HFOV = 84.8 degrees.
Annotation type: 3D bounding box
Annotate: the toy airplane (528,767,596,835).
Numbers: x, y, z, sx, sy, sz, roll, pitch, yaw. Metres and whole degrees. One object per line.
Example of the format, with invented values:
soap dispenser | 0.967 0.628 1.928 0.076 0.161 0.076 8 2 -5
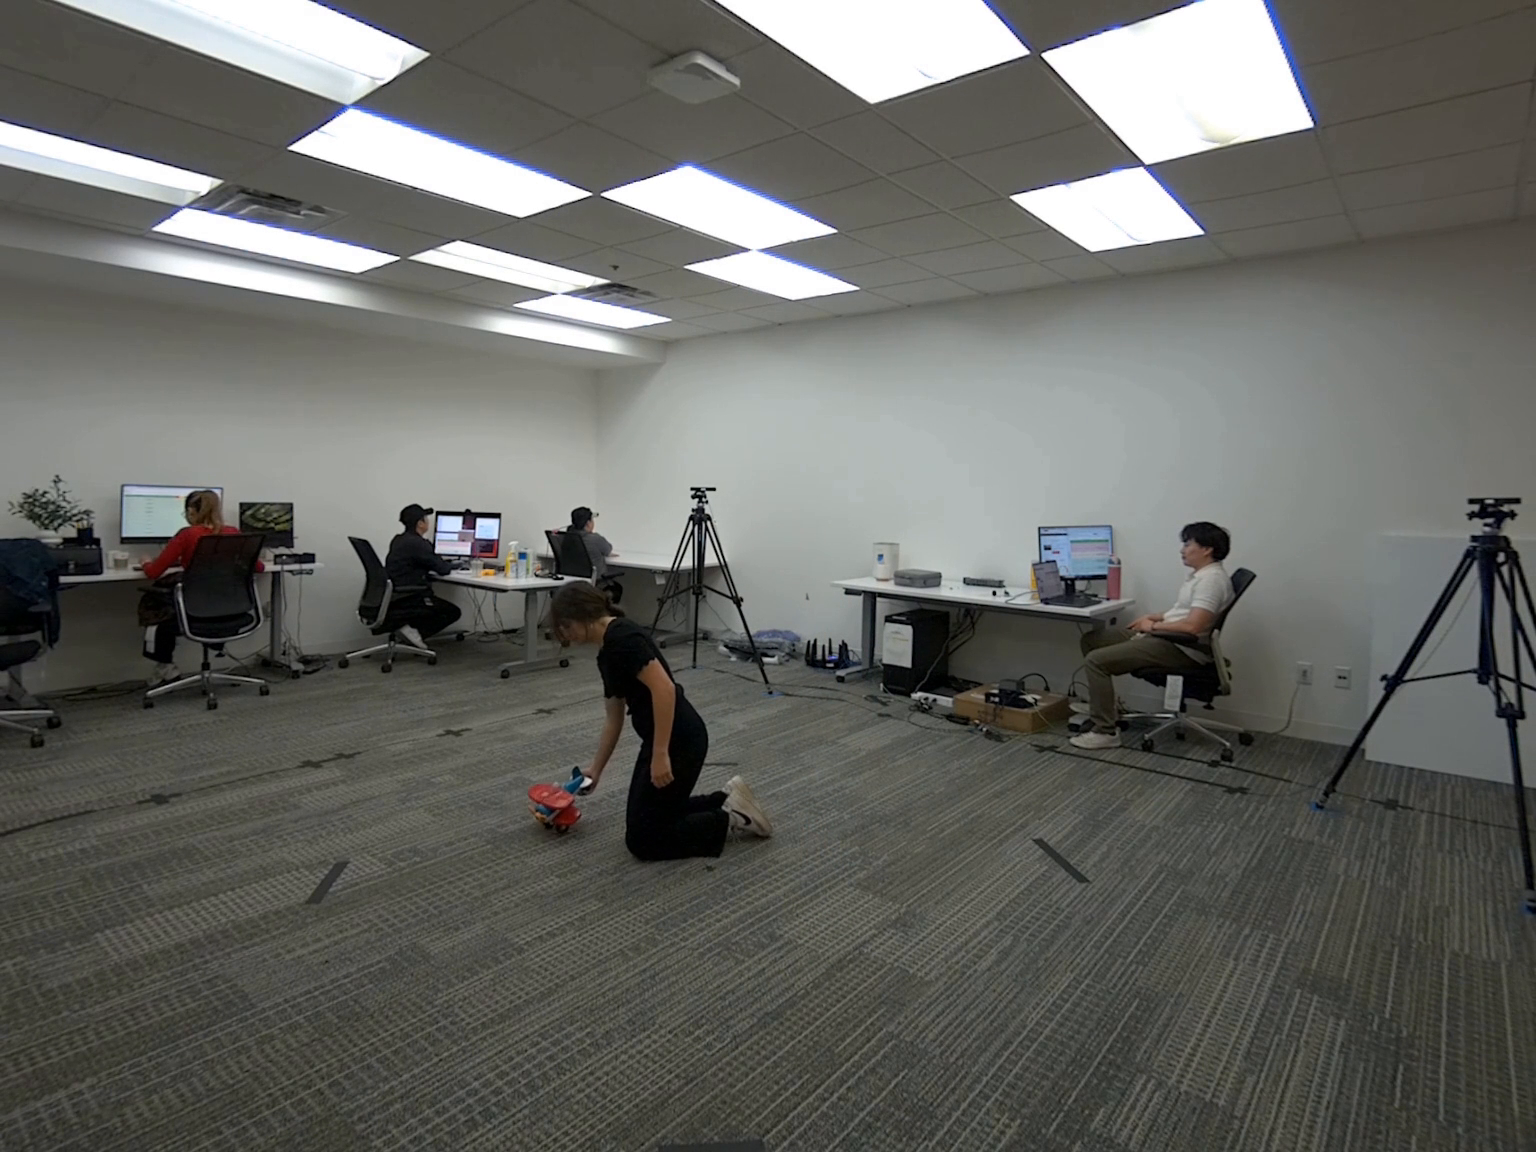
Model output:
toy airplane | -0.867 0.907 3.461 0.254 0.150 0.265 -17 37 18
